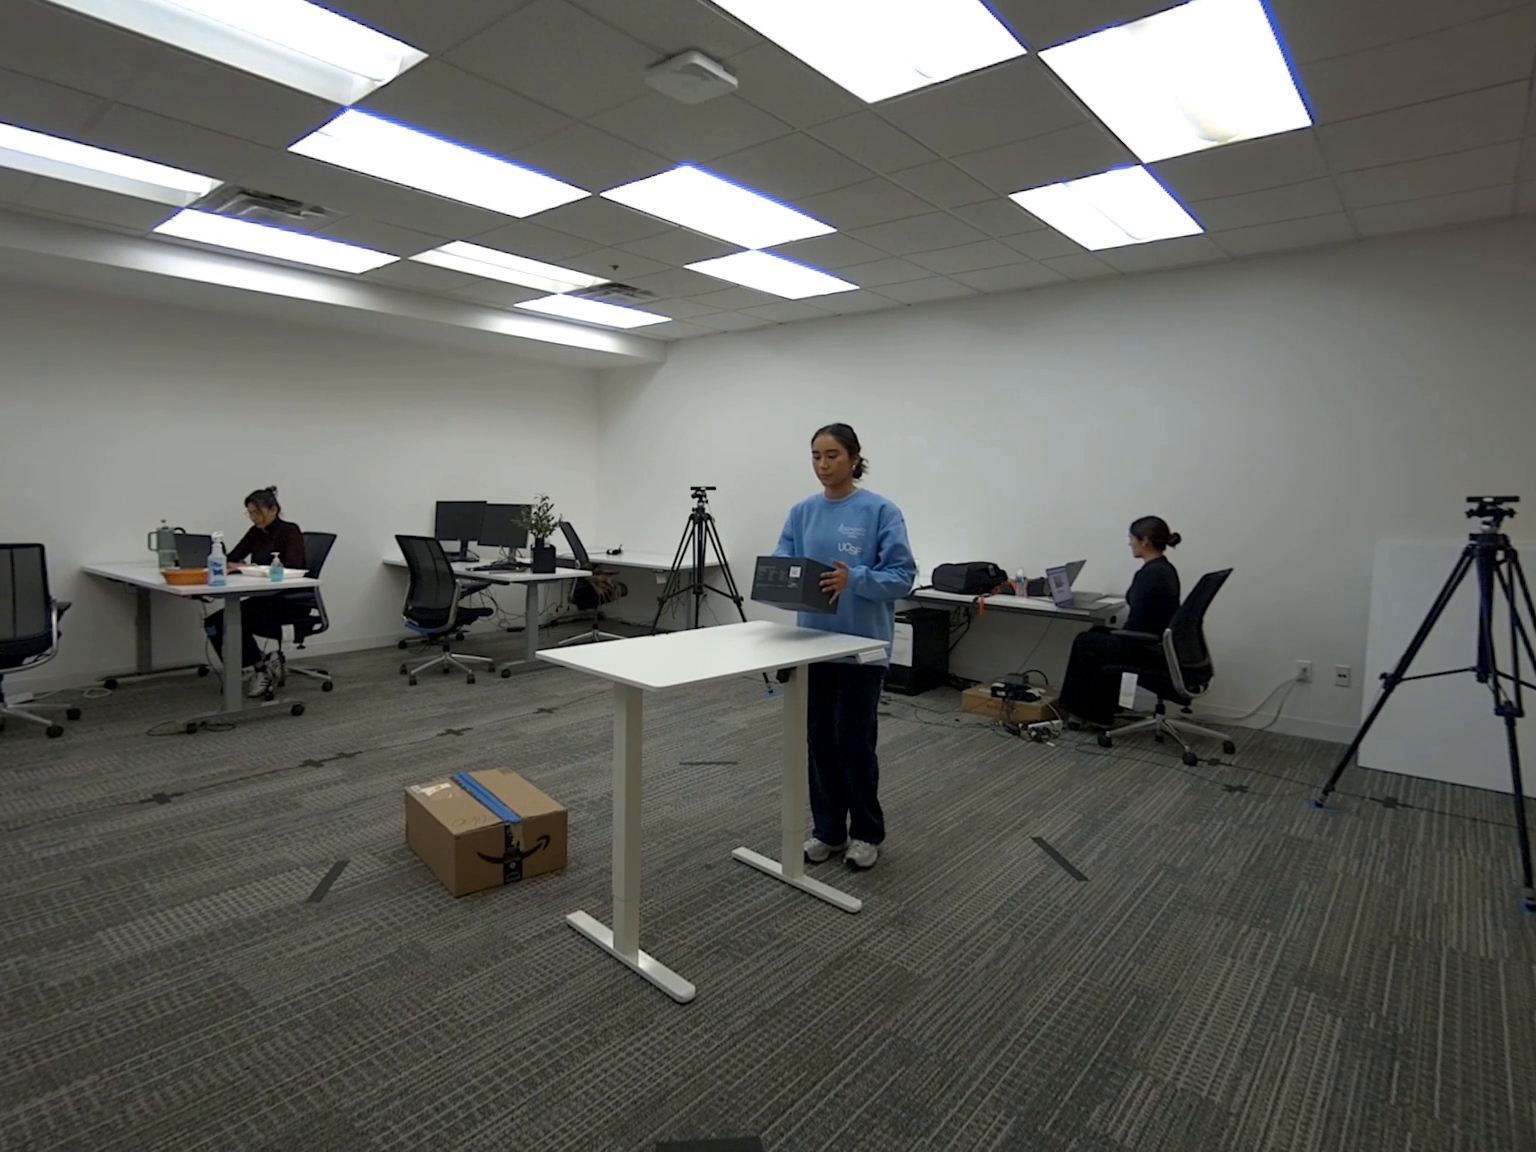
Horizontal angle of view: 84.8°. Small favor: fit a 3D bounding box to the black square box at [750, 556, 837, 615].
[{"bbox_3d":[0.078,0.031,2.943,0.224,0.157,0.219,2,-11,37],"label":"black square box"}]
